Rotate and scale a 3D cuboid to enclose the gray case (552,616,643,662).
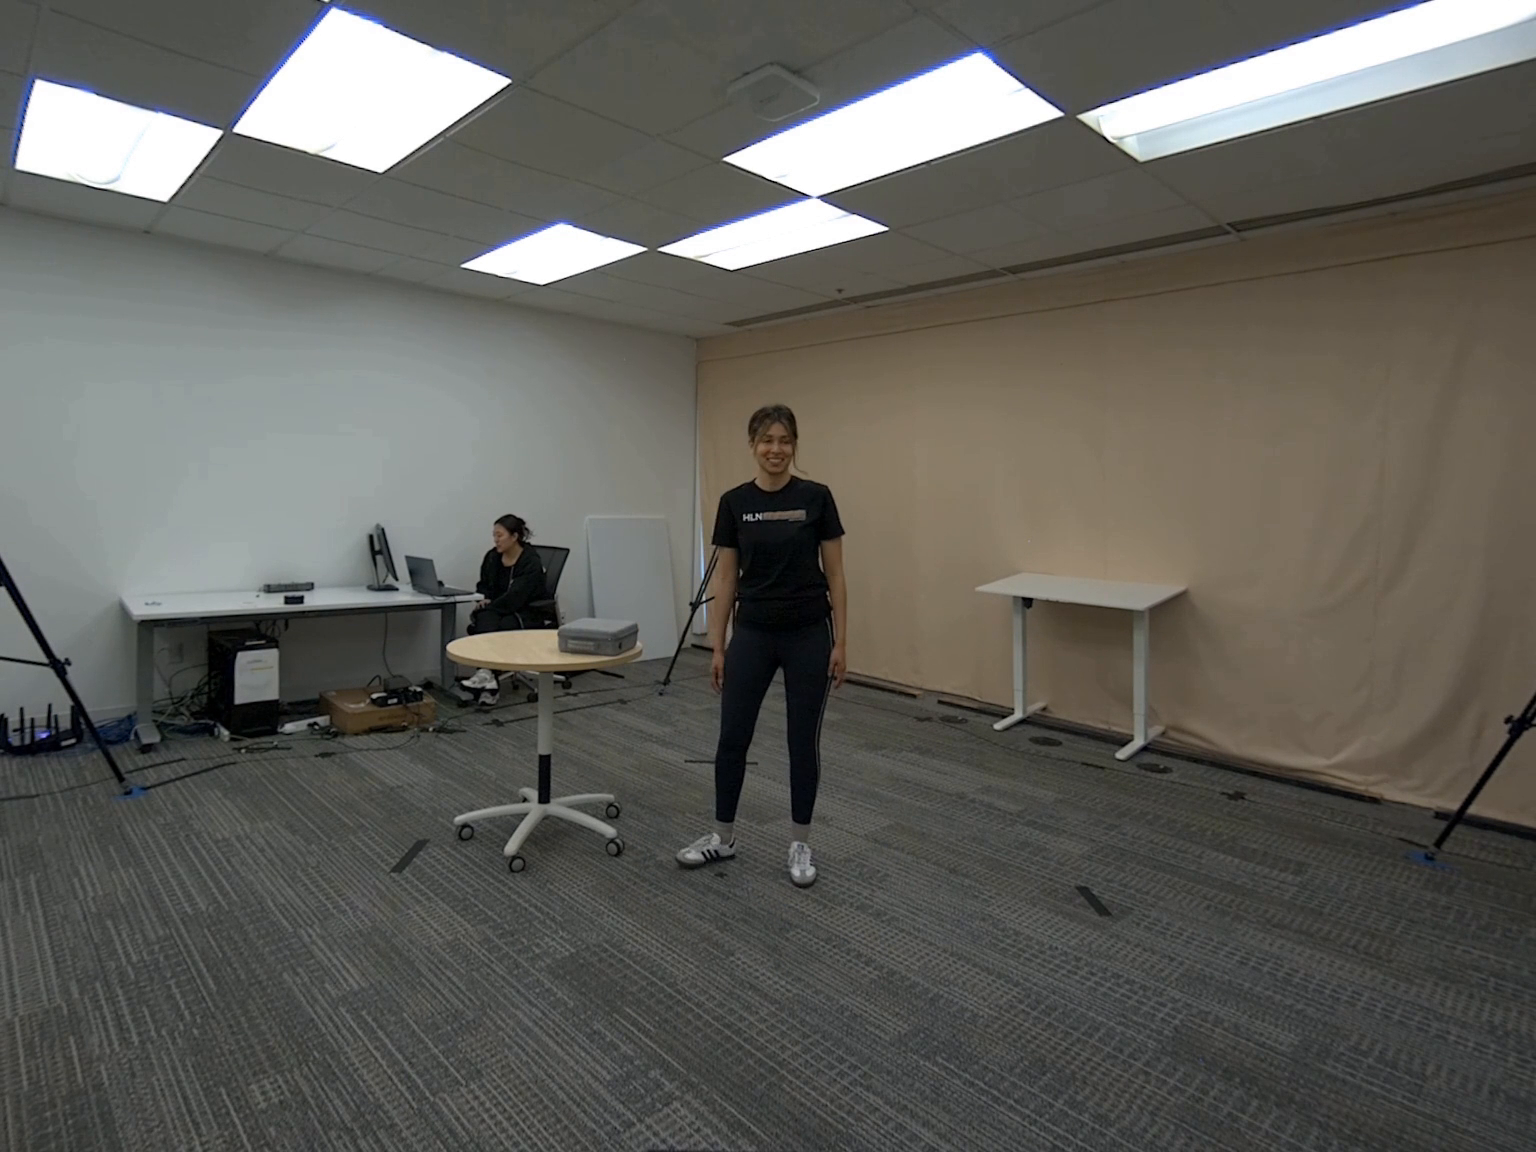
[{"bbox_3d":[-0.663,0.240,3.306,0.260,0.104,0.258,5,6,16],"label":"gray case"}]
